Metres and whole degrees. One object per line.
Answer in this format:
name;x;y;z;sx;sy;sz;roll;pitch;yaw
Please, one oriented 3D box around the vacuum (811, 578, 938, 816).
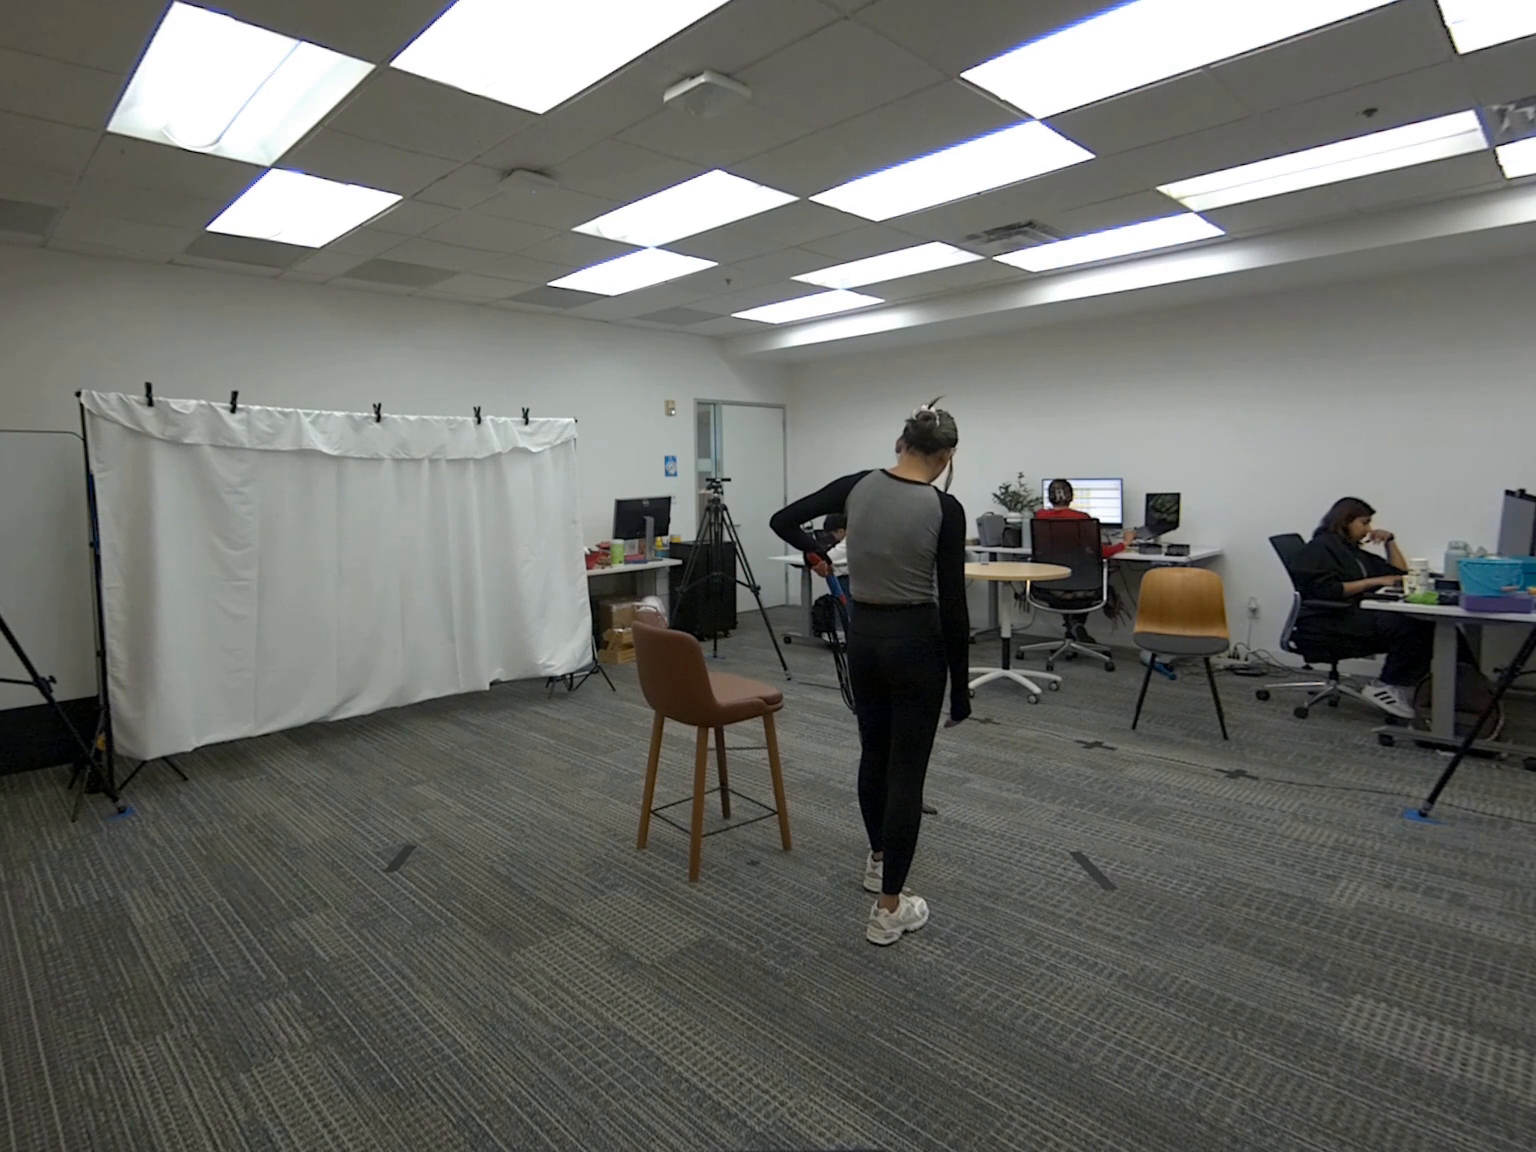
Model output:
vacuum;0.329;0.392;3.049;0.259;1.029;0.143;-4;22;40
